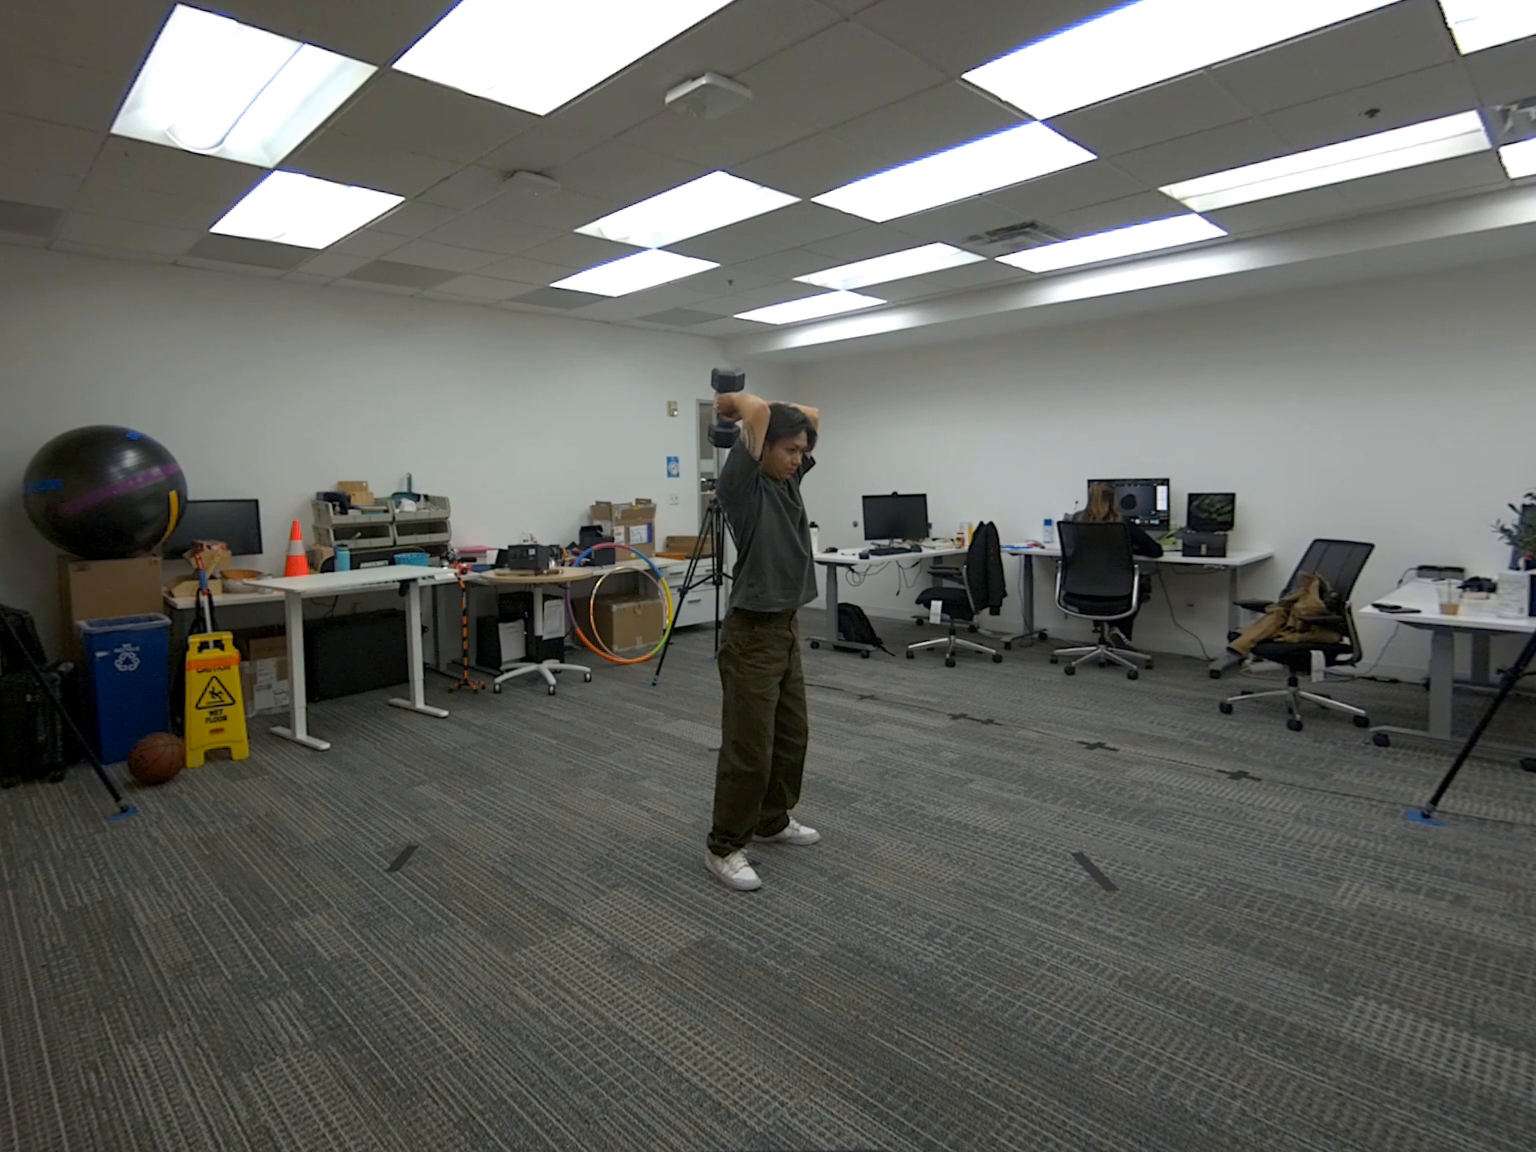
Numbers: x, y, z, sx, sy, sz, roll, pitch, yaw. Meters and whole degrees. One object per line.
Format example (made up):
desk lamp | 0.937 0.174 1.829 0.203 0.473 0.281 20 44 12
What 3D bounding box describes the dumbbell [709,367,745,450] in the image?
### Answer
dumbbell | -0.148 -0.626 3.150 0.107 0.288 0.128 -7 30 -24
